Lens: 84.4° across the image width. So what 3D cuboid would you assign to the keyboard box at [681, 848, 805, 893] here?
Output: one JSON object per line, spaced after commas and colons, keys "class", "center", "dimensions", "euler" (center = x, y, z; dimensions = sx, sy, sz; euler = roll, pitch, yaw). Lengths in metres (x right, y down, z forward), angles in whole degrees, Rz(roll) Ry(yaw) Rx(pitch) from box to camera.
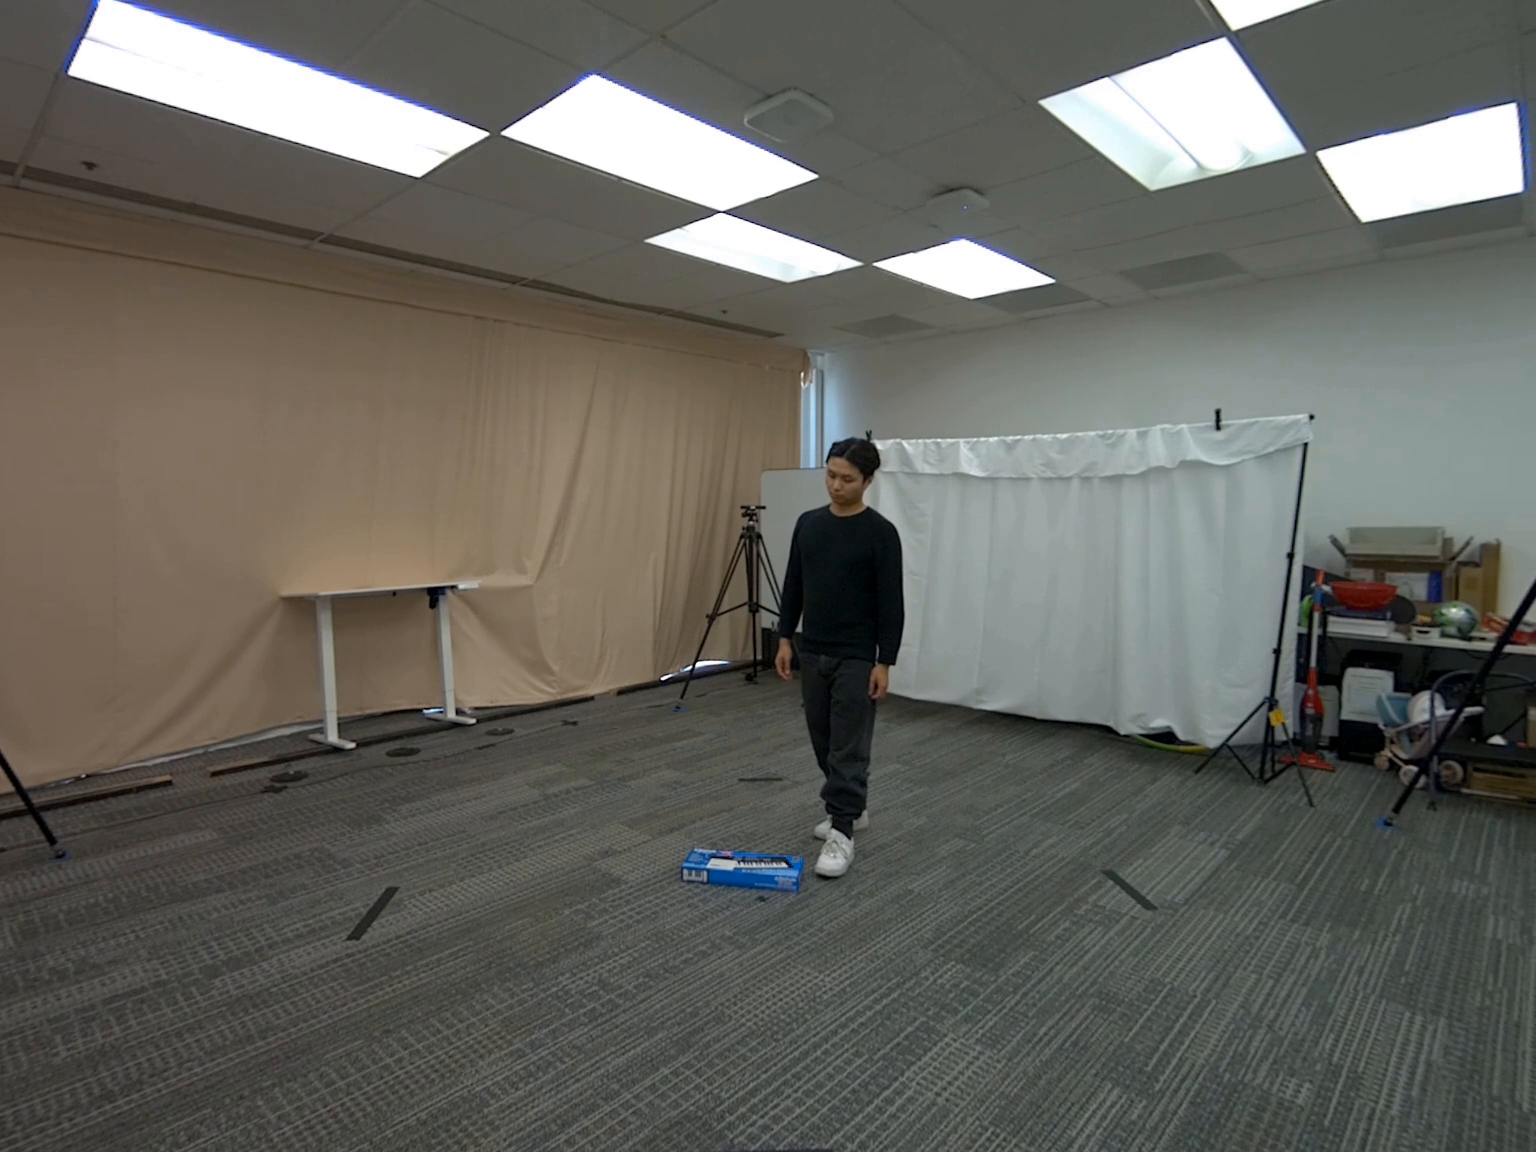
{"class": "keyboard box", "center": [-0.087, 1.097, 3.154], "dimensions": [0.443, 0.059, 0.174], "euler": [0, 5, 12]}
